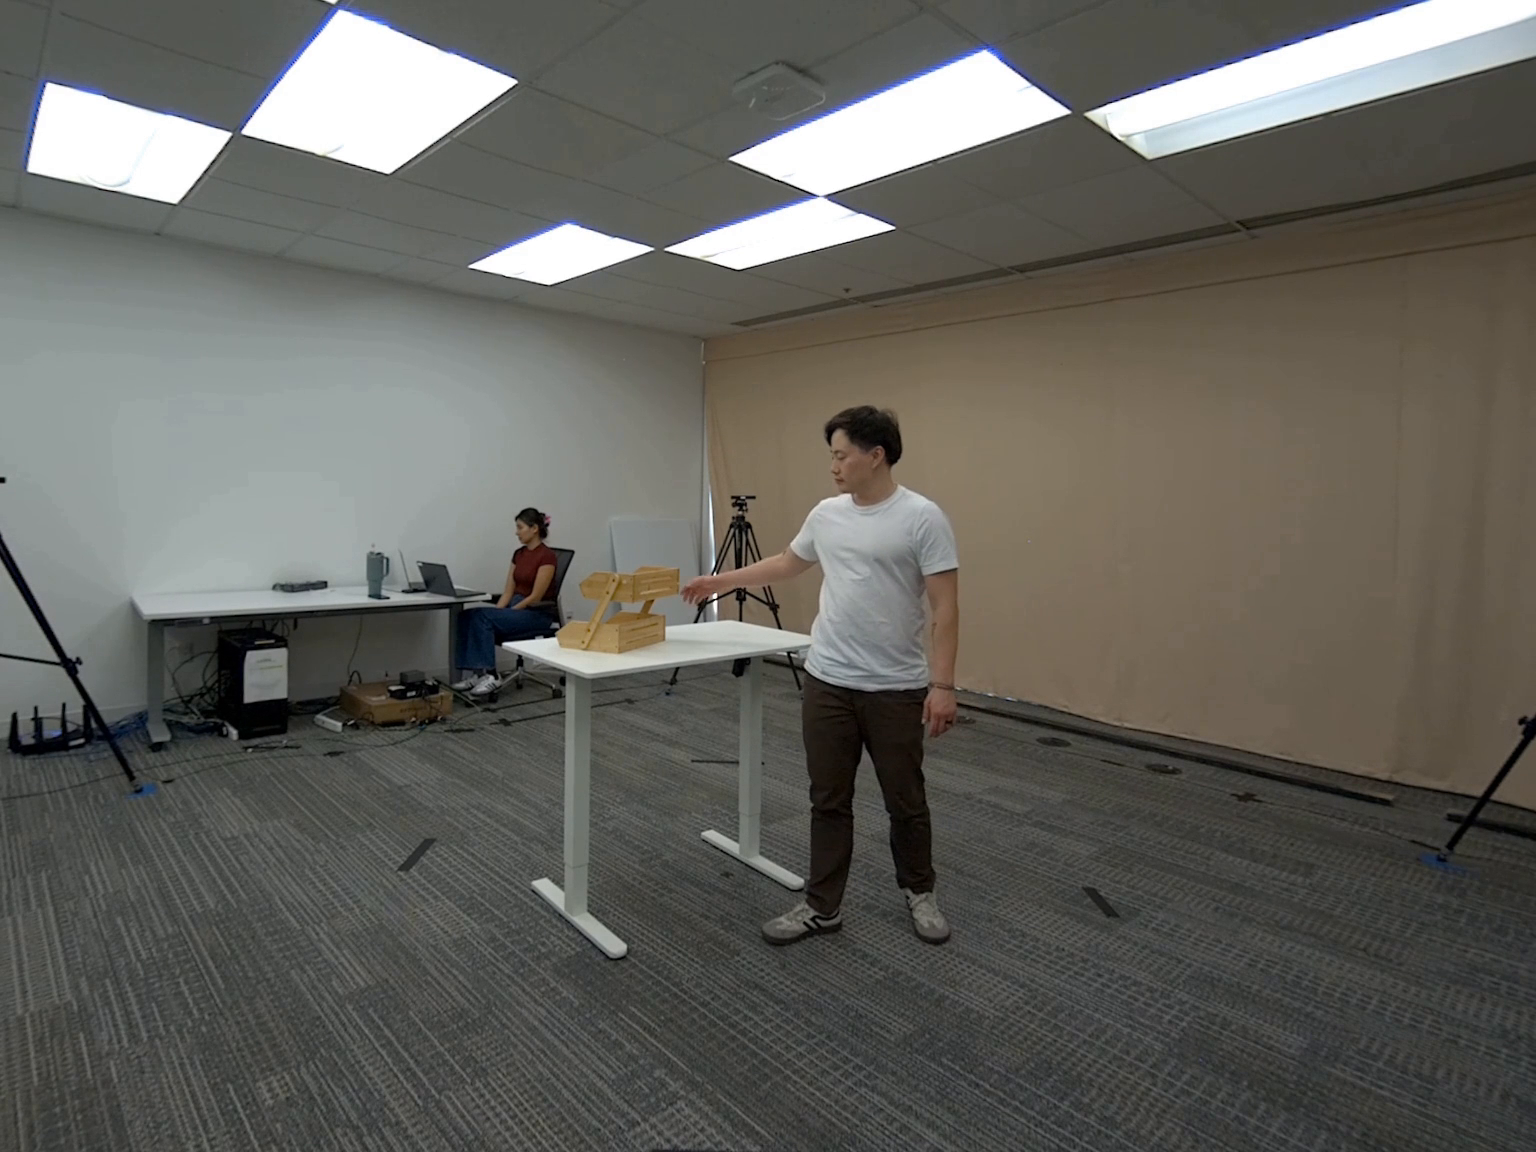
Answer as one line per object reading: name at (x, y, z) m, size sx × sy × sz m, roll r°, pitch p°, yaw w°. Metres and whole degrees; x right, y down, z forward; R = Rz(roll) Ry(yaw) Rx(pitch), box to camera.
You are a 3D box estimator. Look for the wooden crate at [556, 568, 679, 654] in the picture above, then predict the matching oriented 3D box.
wooden crate at (-0.517, 0.103, 2.868) m, size 0.308 × 0.272 × 0.319 m, roll 4°, pitch 5°, yaw 24°
